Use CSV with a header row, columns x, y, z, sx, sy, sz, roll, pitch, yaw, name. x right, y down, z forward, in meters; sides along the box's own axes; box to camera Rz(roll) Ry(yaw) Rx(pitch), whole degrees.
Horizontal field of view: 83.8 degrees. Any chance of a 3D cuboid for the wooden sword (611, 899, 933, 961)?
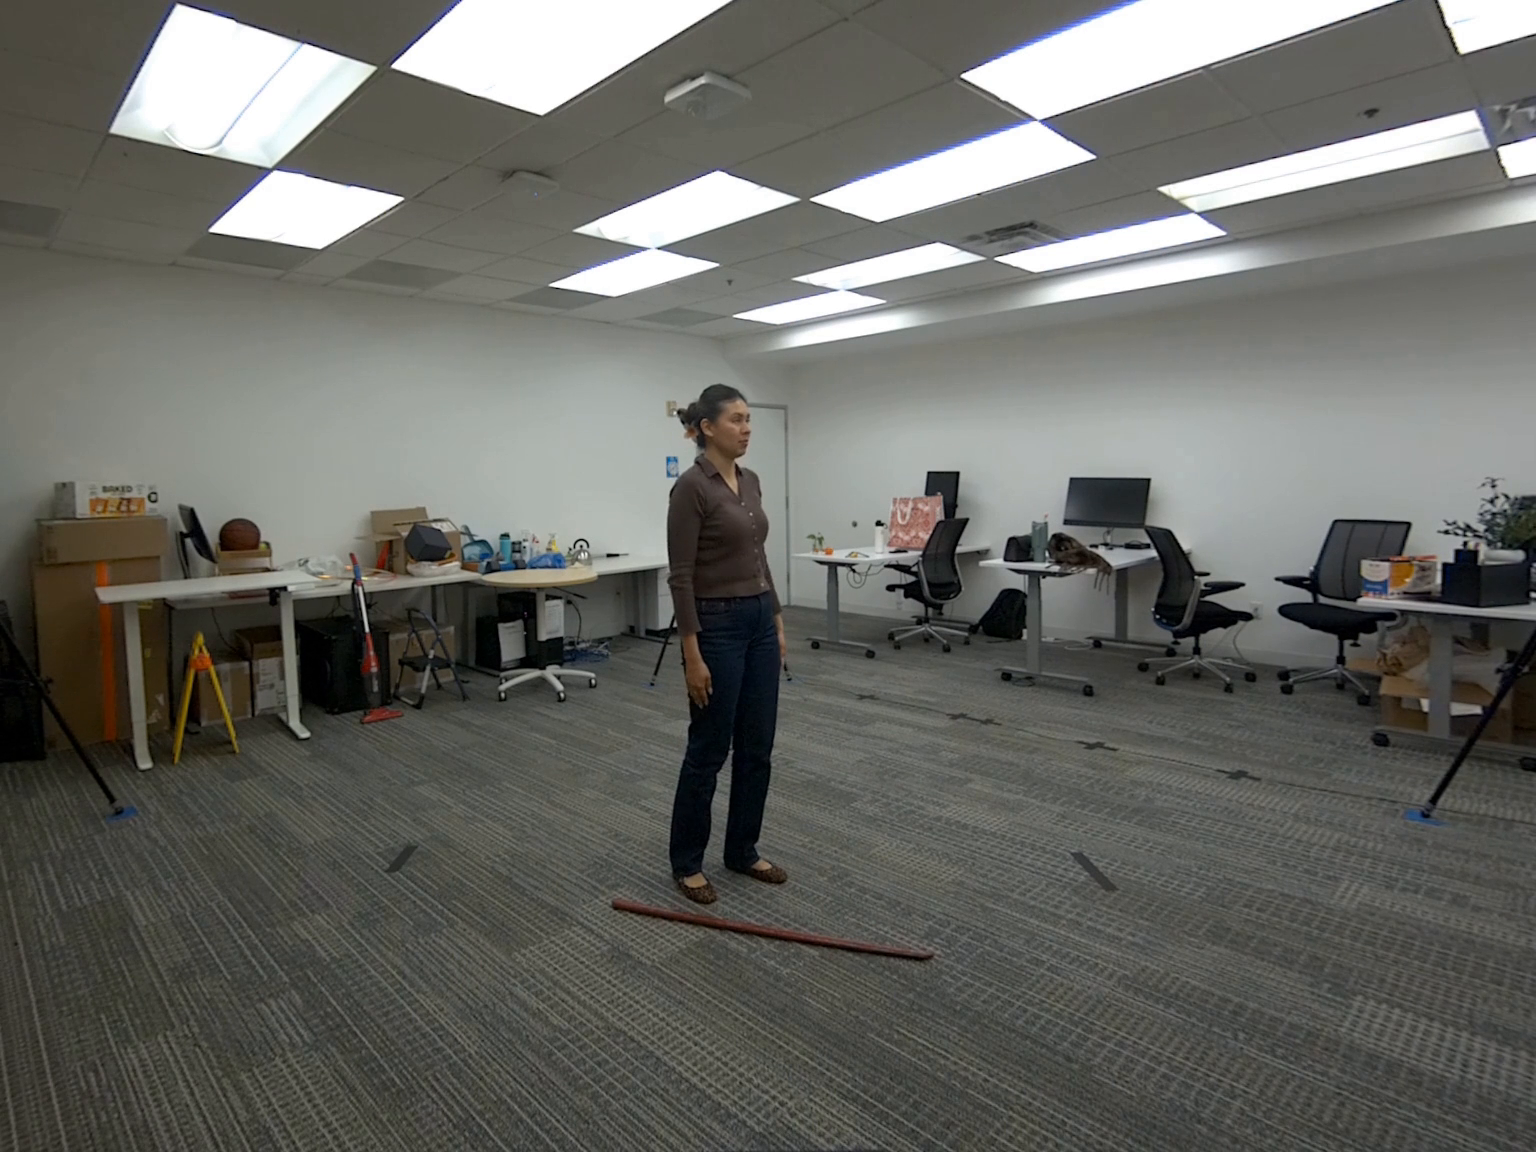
x,y,z,sx,sy,sz,roll,pitch,yaw,name
-0.027,1.070,2.635,1.043,0.050,0.024,2,21,18,wooden sword
